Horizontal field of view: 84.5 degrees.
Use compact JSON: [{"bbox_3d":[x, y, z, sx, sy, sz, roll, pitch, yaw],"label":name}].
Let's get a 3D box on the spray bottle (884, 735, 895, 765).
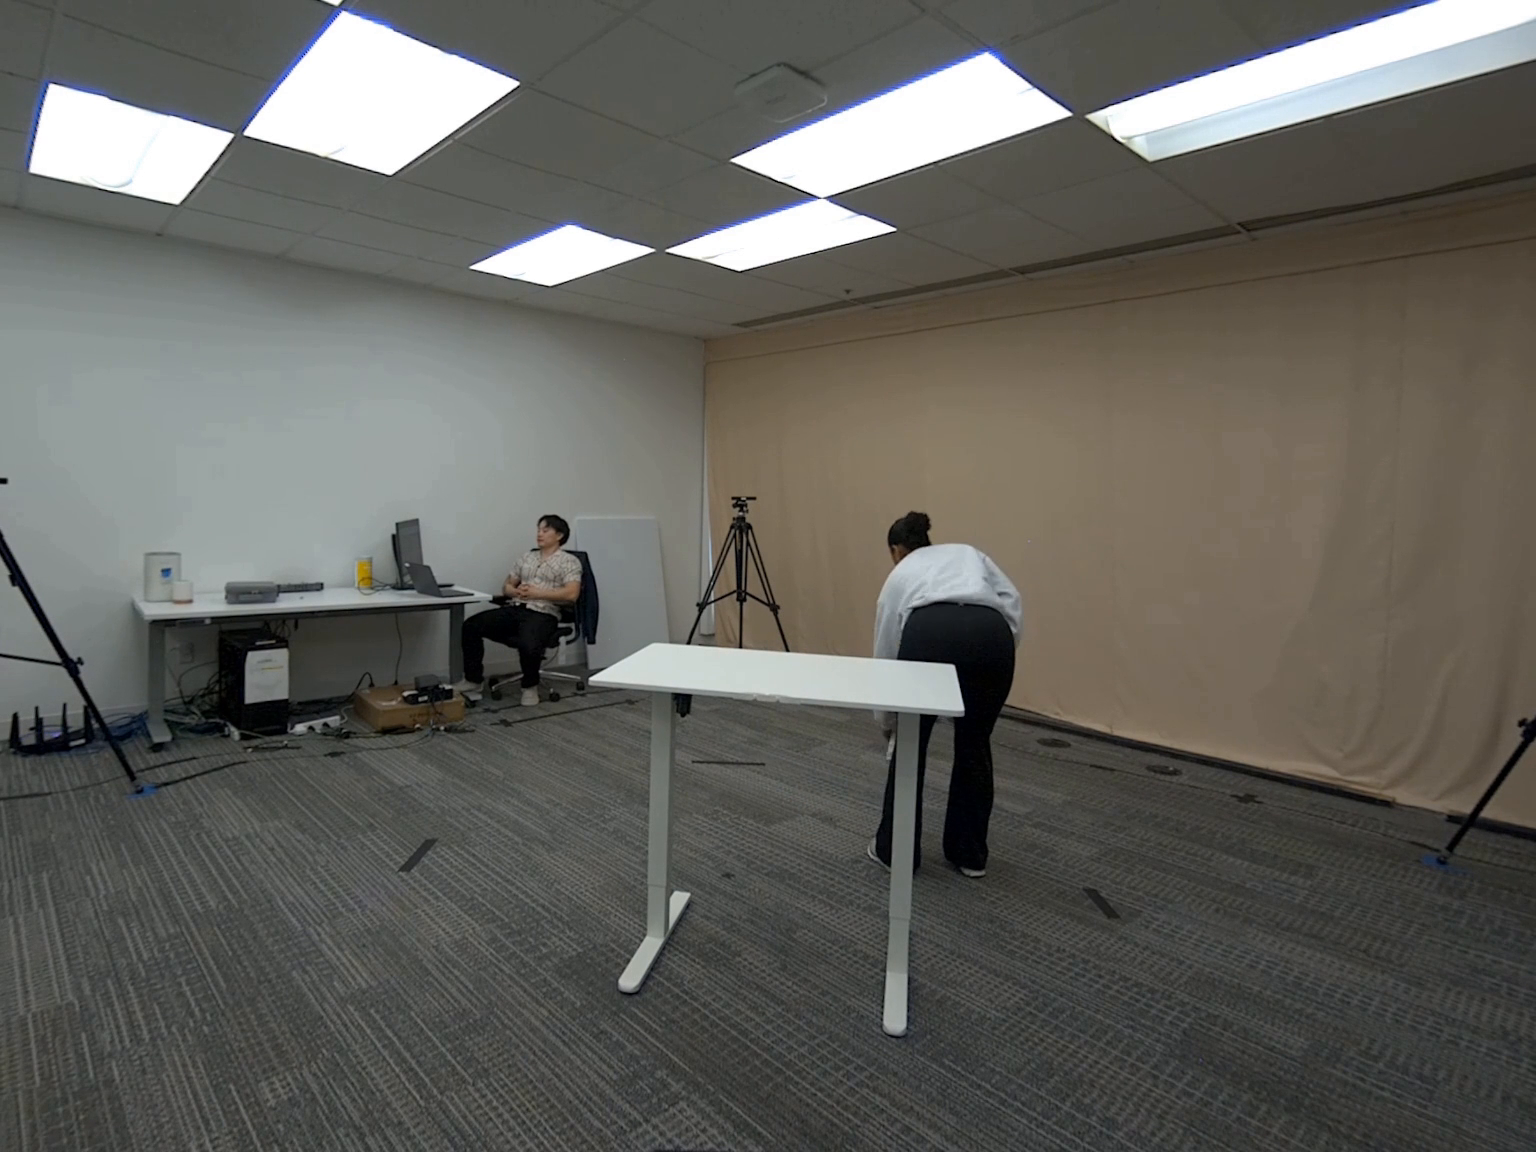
[{"bbox_3d":[0.565,0.662,3.547,0.088,0.301,0.087,3,-25,24],"label":"spray bottle"}]
